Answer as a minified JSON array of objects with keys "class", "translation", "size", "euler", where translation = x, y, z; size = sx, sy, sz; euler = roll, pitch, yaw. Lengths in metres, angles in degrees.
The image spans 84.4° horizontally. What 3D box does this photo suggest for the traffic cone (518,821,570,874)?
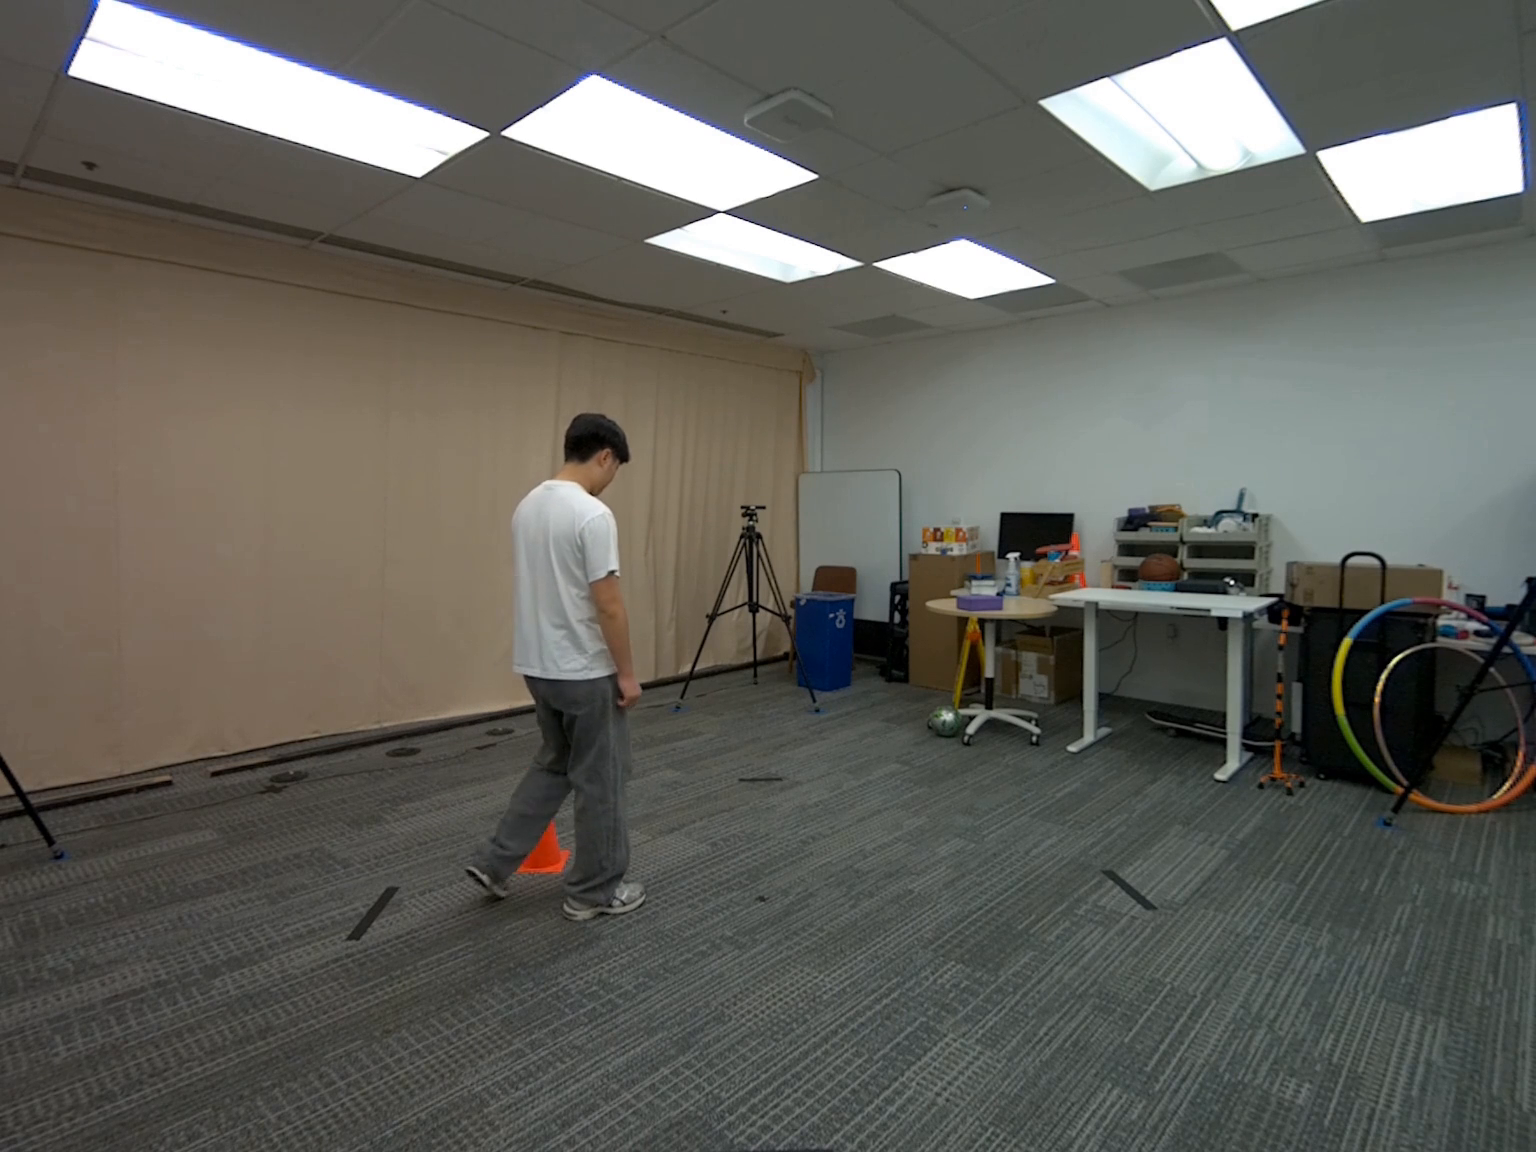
[{"class":"traffic cone","translation":[-0.905,0.945,3.312],"size":[0.205,0.384,0.204],"euler":[-1,0,-2]}]
